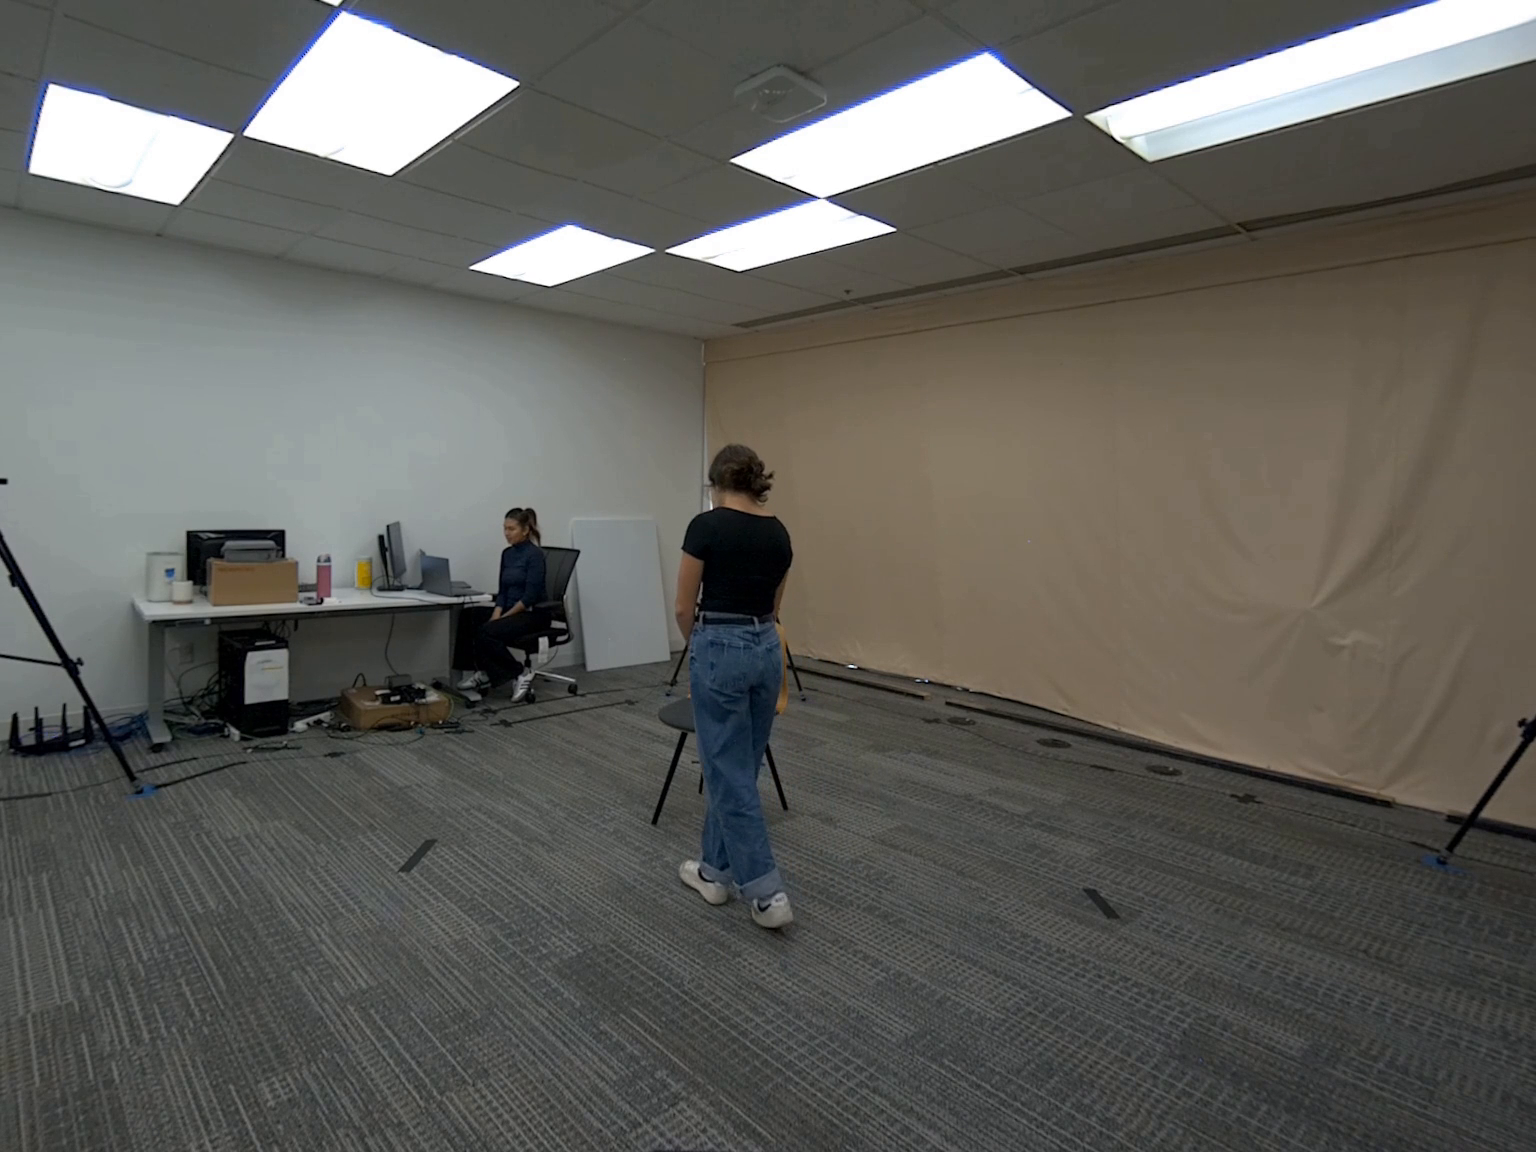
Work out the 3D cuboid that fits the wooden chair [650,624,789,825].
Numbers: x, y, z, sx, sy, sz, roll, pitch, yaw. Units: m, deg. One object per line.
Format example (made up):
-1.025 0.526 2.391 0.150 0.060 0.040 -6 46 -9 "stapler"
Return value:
-0.195 0.635 3.649 0.487 0.878 0.513 3 -1 24 "wooden chair"
